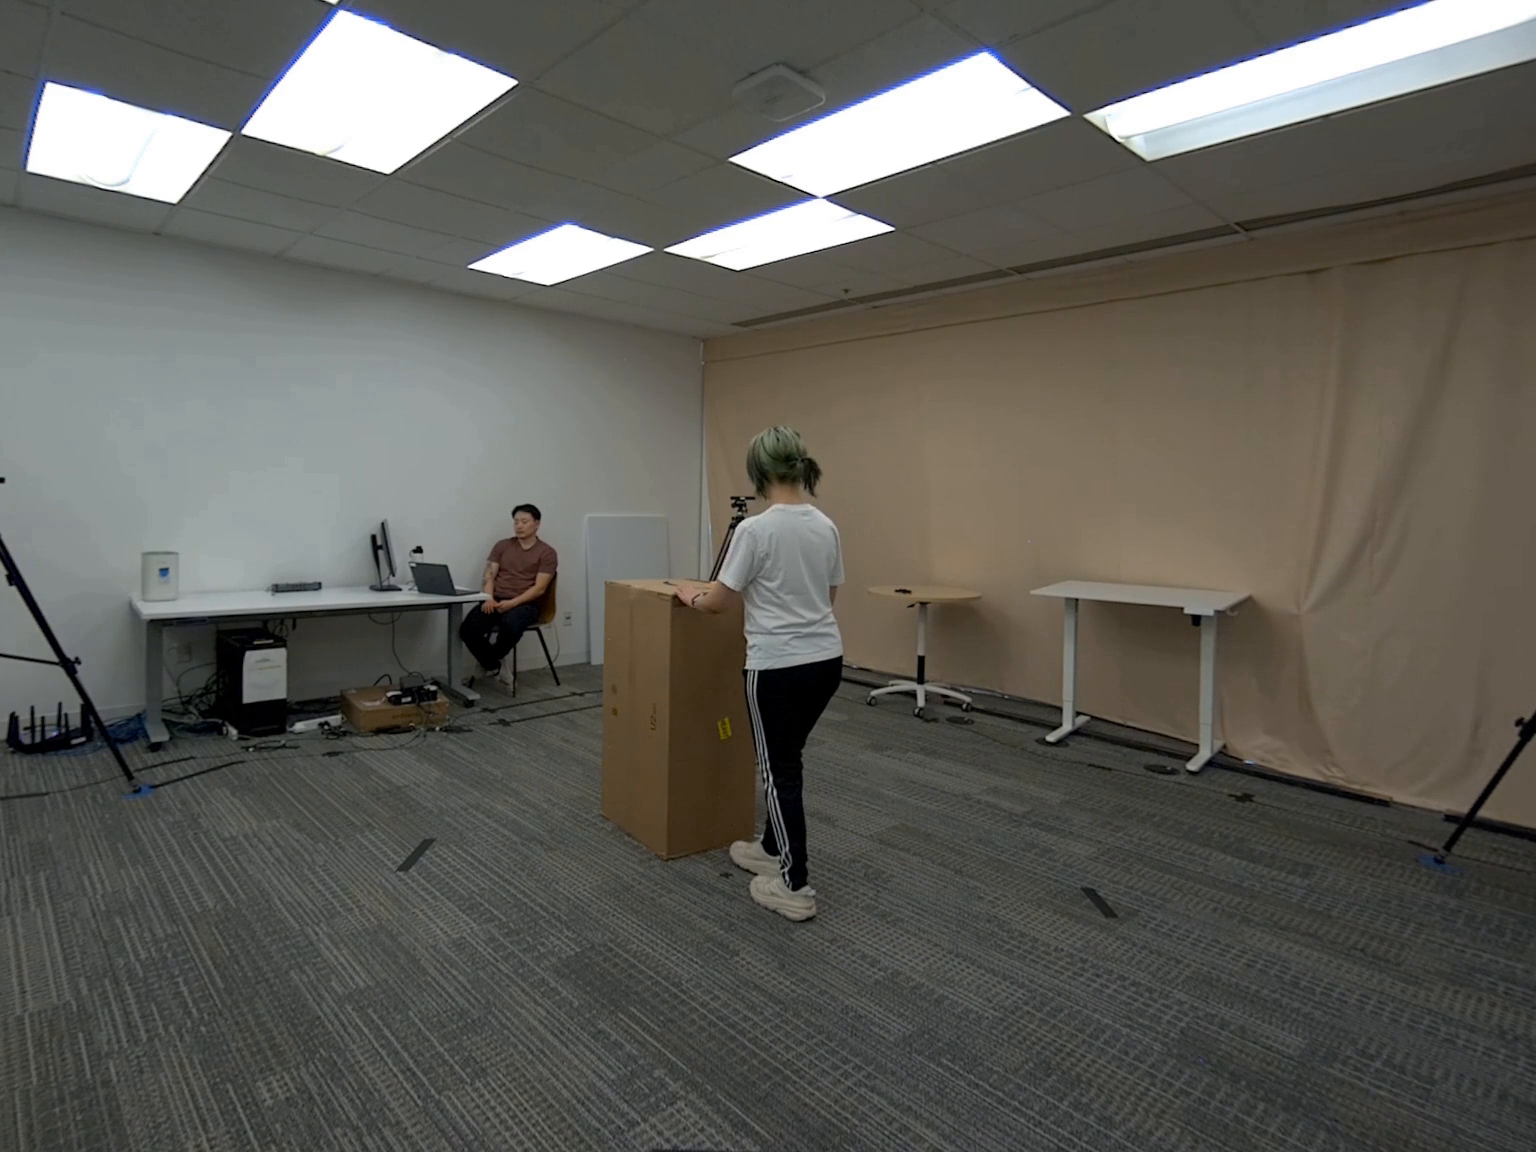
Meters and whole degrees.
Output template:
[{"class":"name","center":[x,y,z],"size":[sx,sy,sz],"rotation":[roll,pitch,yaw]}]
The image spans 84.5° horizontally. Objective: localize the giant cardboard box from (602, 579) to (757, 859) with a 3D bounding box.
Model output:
[{"class":"giant cardboard box","center":[-0.389,0.553,3.546],"size":[0.437,1.024,0.598],"rotation":[-1,4,-37]}]
